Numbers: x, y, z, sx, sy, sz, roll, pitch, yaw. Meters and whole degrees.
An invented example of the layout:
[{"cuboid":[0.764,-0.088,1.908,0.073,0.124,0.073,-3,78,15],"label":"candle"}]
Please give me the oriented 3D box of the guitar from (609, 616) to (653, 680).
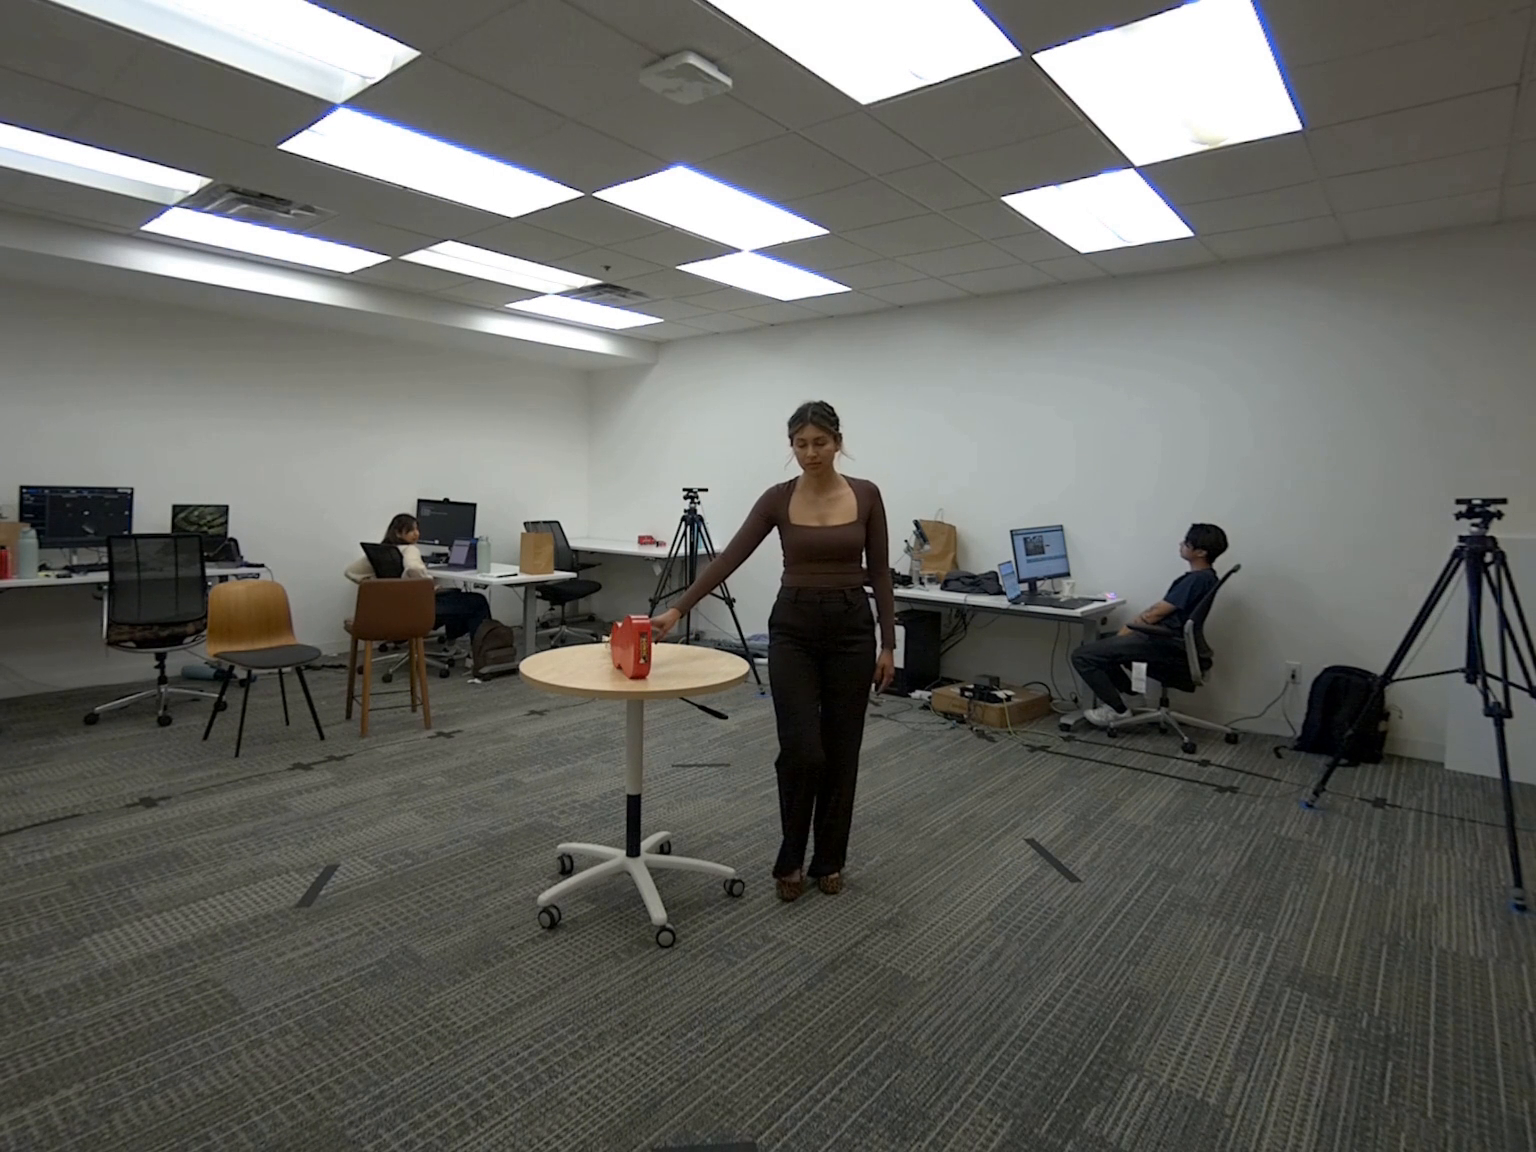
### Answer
[{"cuboid":[-0.492,0.252,2.830,0.069,0.195,0.503,1,-11,-24],"label":"guitar"}]
